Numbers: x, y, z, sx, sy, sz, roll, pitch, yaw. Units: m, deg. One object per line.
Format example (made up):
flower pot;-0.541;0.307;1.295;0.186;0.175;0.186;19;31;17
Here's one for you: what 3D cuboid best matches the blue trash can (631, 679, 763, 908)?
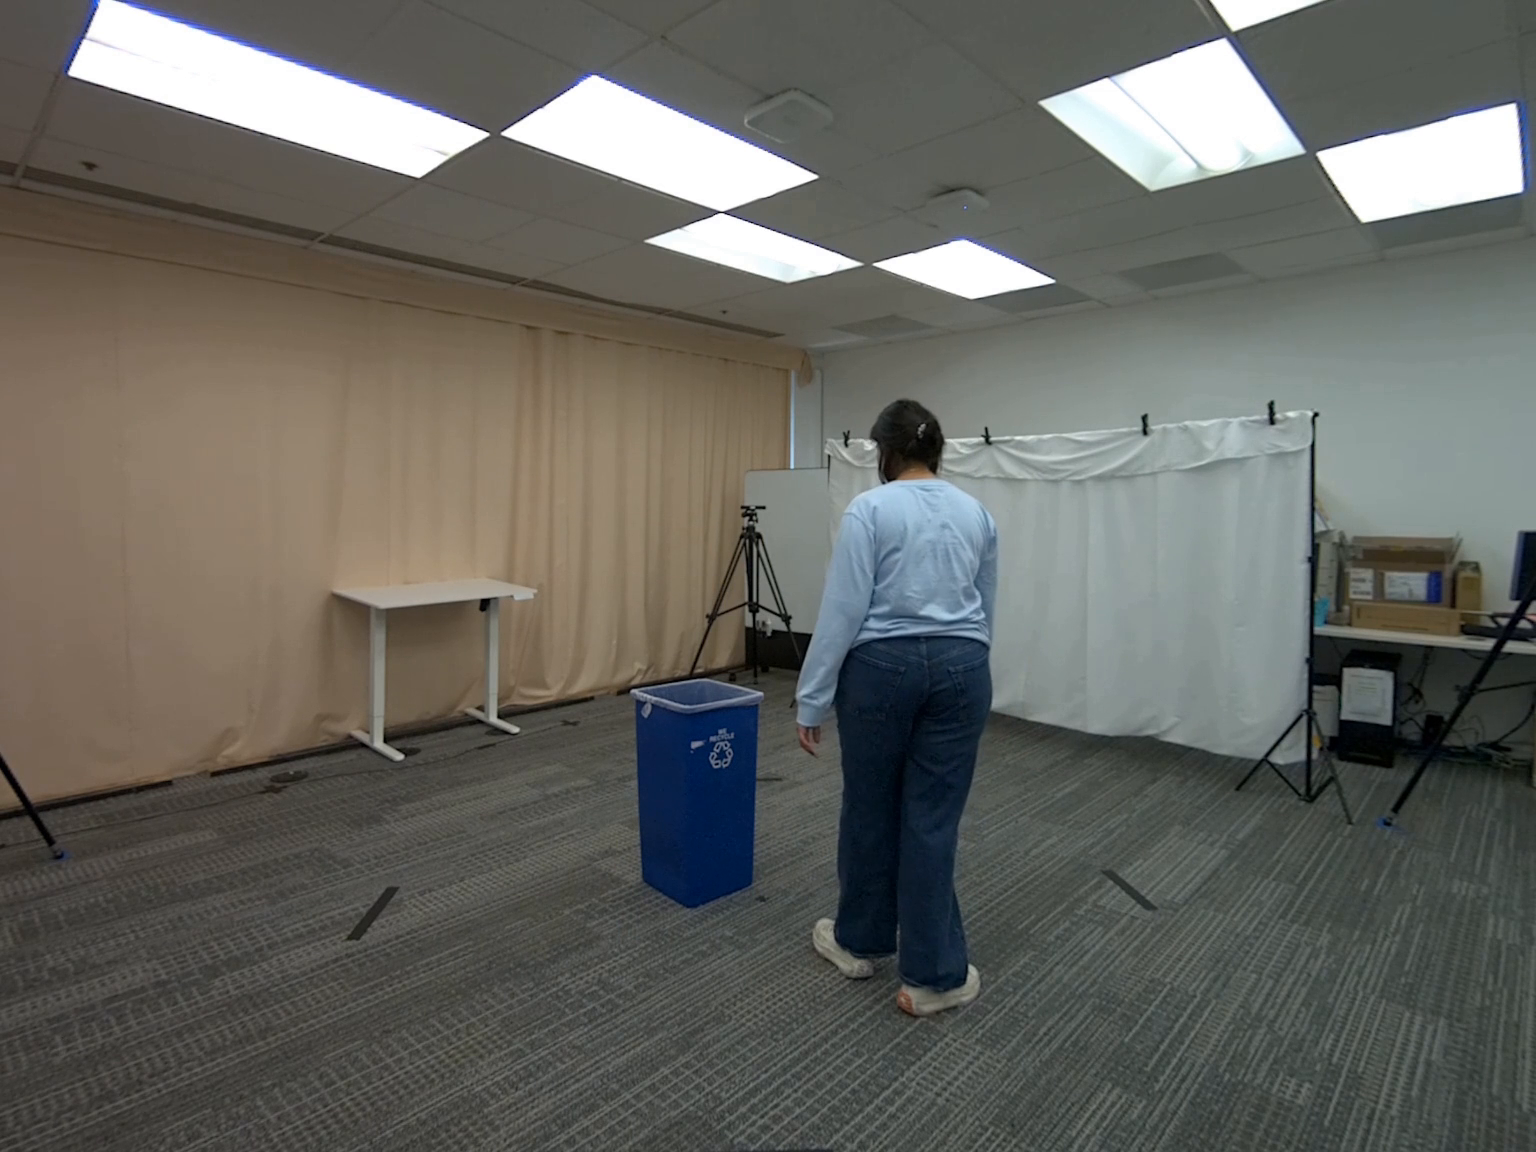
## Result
blue trash can;-0.258;0.778;3.102;0.363;0.712;0.390;-3;5;-41
